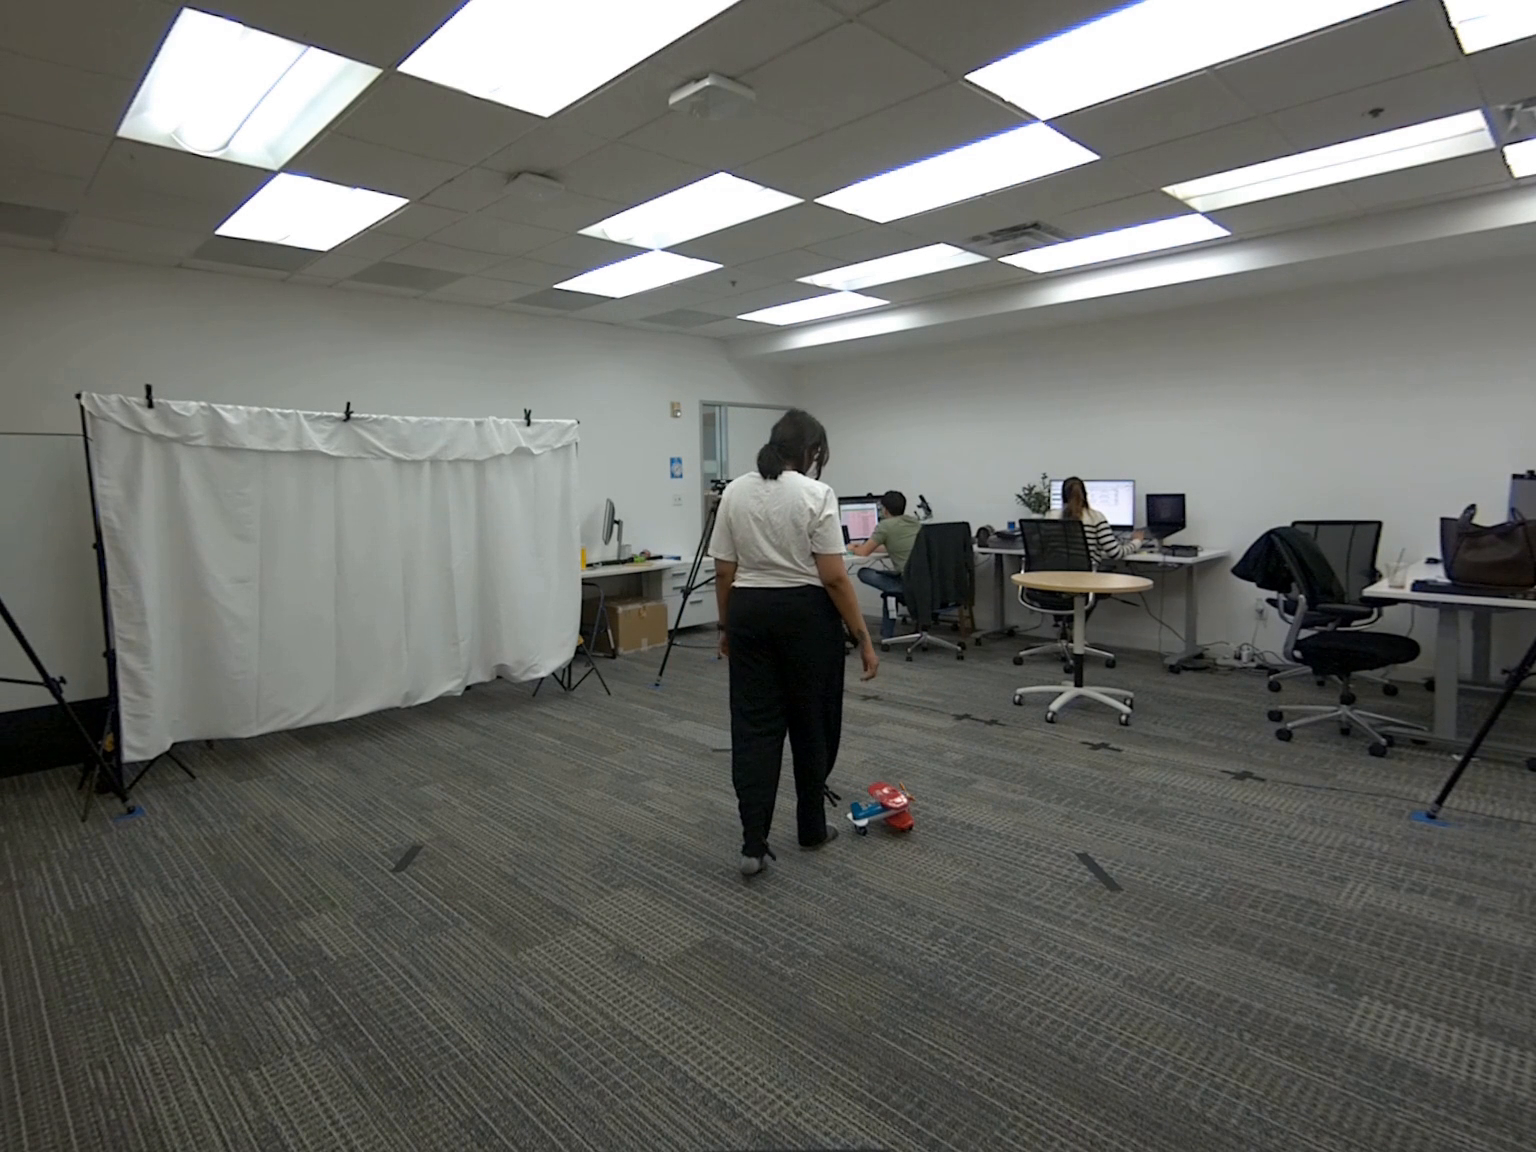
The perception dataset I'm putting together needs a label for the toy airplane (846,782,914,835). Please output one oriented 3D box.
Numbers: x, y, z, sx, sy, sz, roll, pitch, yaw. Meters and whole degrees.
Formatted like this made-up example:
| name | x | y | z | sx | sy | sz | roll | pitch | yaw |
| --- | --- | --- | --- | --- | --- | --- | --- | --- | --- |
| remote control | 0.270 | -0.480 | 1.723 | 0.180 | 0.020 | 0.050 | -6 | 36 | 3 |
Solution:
| name | x | y | z | sx | sy | sz | roll | pitch | yaw |
| --- | --- | --- | --- | --- | --- | --- | --- | --- | --- |
| toy airplane | 0.464 | 0.935 | 3.372 | 0.259 | 0.156 | 0.252 | 5 | 7 | 45 |
